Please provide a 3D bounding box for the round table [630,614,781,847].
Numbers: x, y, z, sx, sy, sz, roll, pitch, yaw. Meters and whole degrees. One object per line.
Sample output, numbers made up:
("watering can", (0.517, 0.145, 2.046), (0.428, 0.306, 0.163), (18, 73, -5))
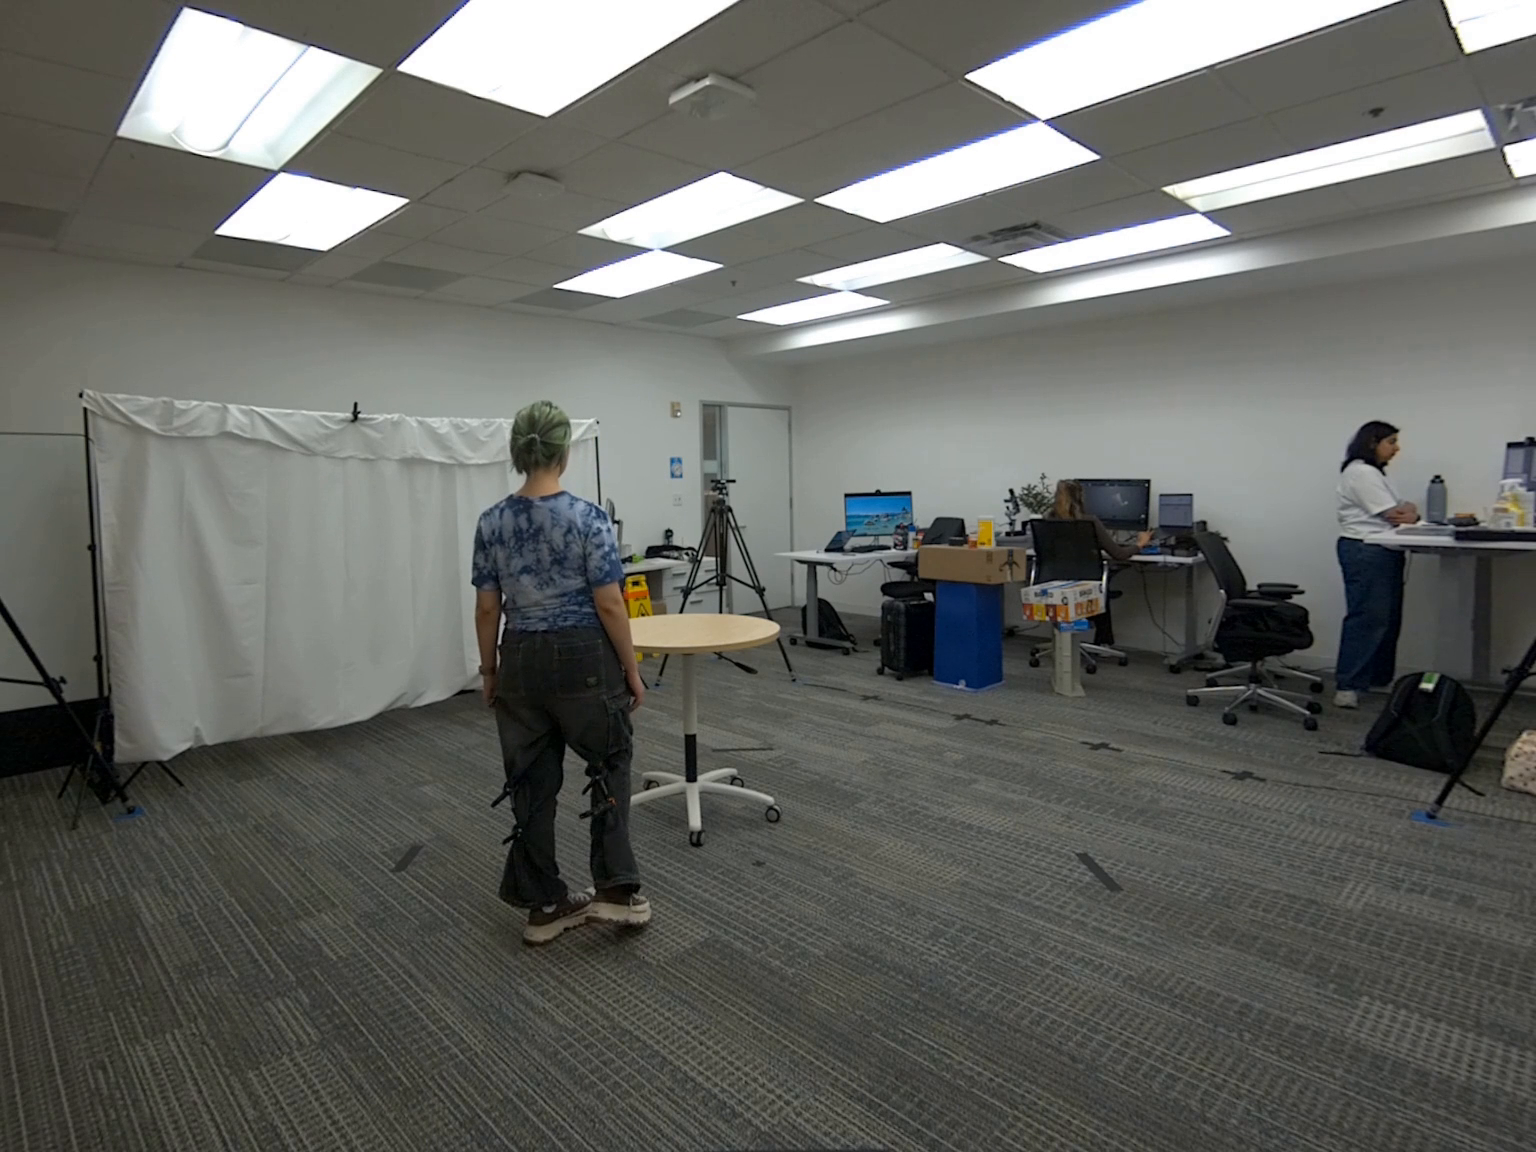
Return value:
("round table", (-0.320, 0.612, 3.563), (0.763, 0.791, 0.768), (-1, 5, -2))
